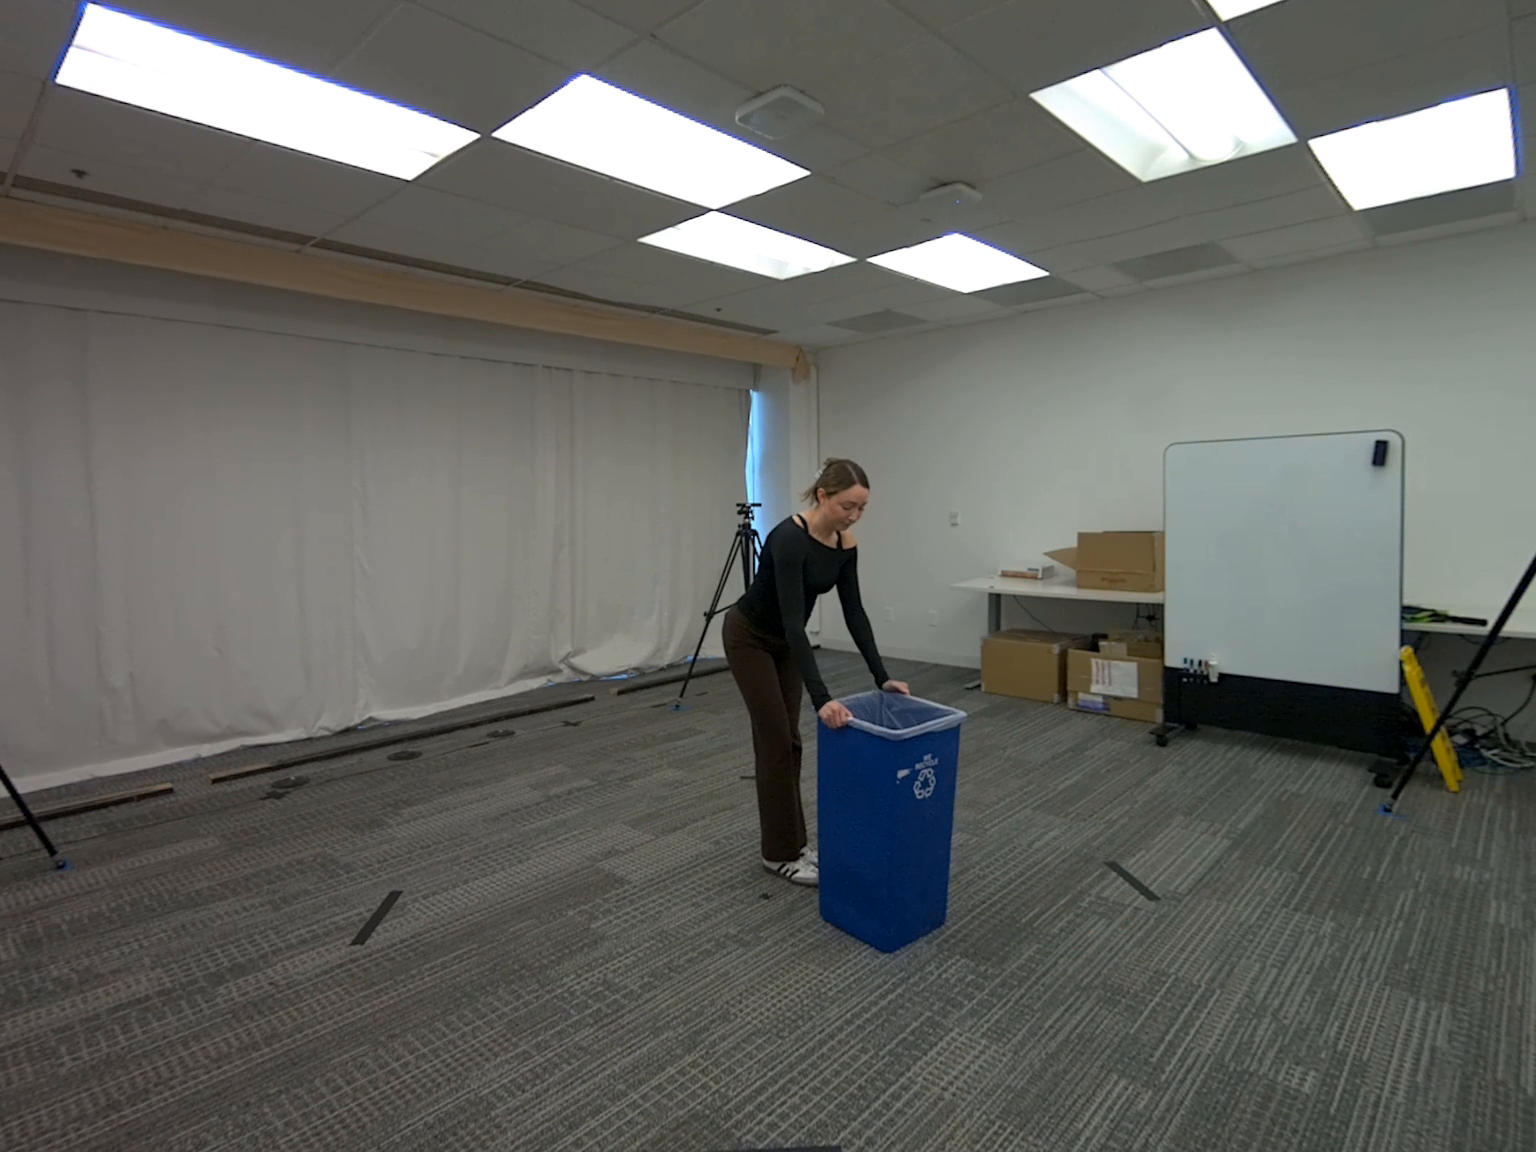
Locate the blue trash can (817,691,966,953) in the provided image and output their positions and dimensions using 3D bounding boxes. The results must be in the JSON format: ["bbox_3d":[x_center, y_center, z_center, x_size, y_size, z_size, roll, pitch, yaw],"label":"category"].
[{"bbox_3d":[0.395,0.781,2.759,0.363,0.711,0.391,-5,8,-41],"label":"blue trash can"}]
